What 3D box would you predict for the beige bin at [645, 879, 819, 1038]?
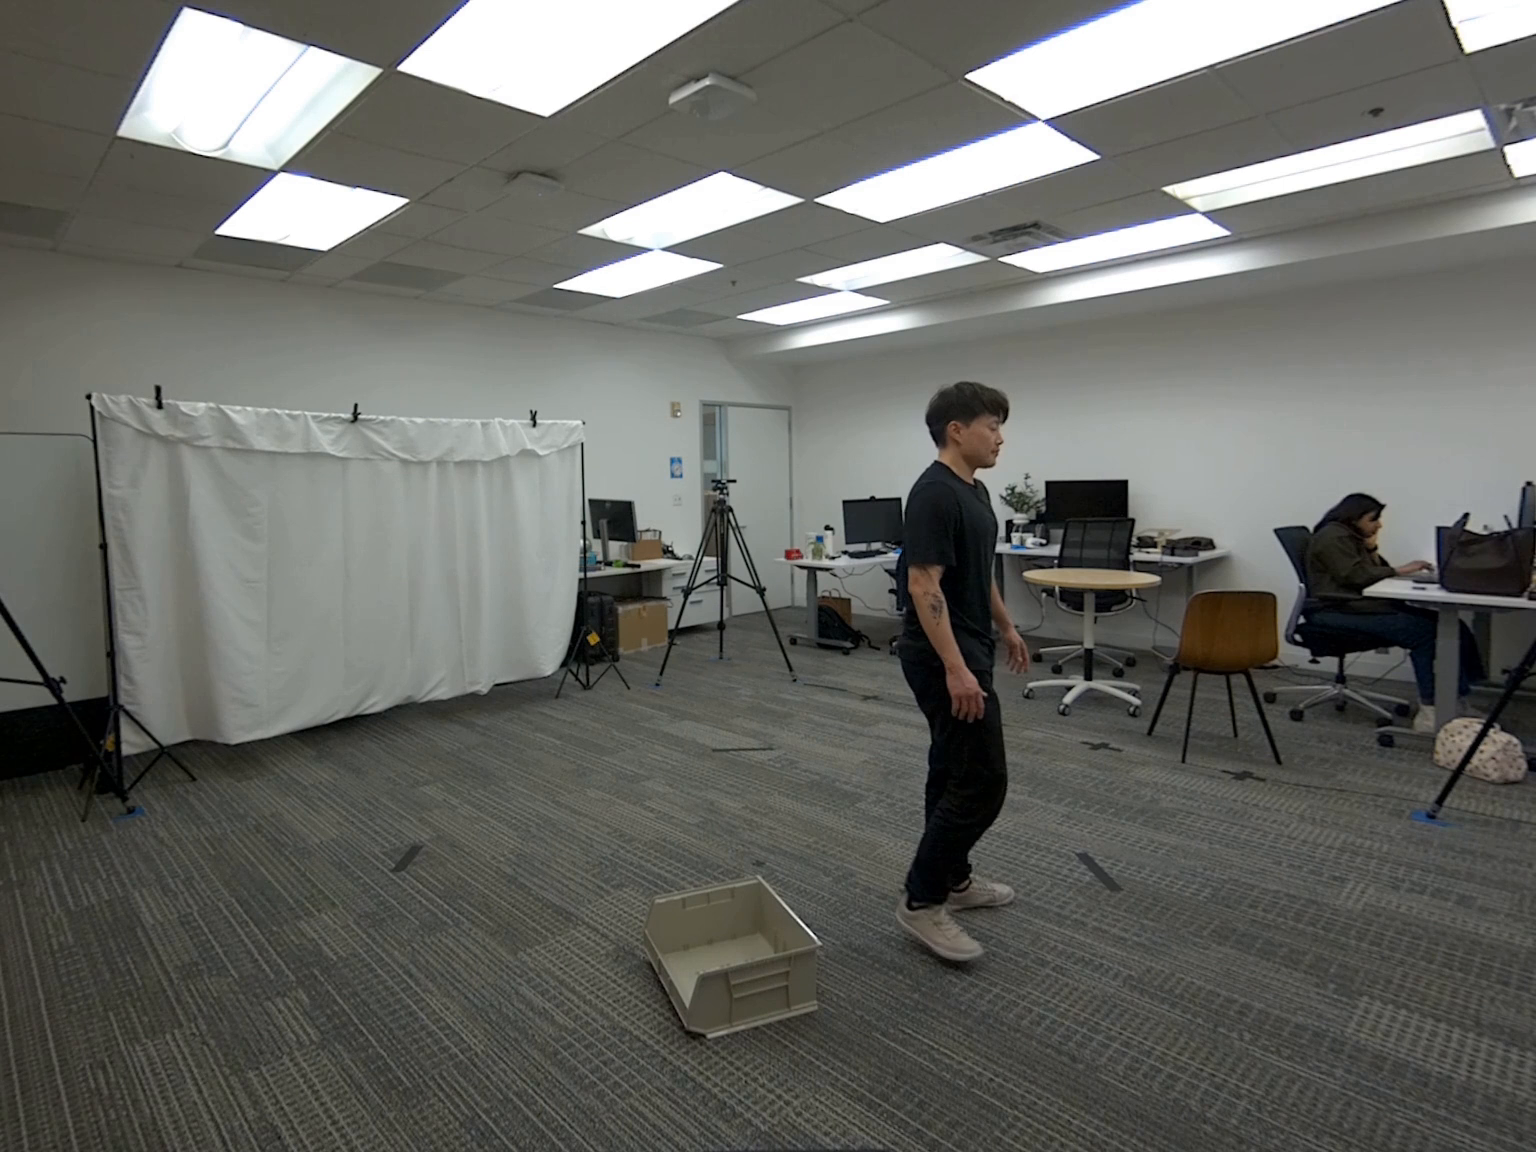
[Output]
[{"bbox_3d":[-0.109,1.048,2.369,0.370,0.188,0.432,-2,5,-23],"label":"beige bin"}]
